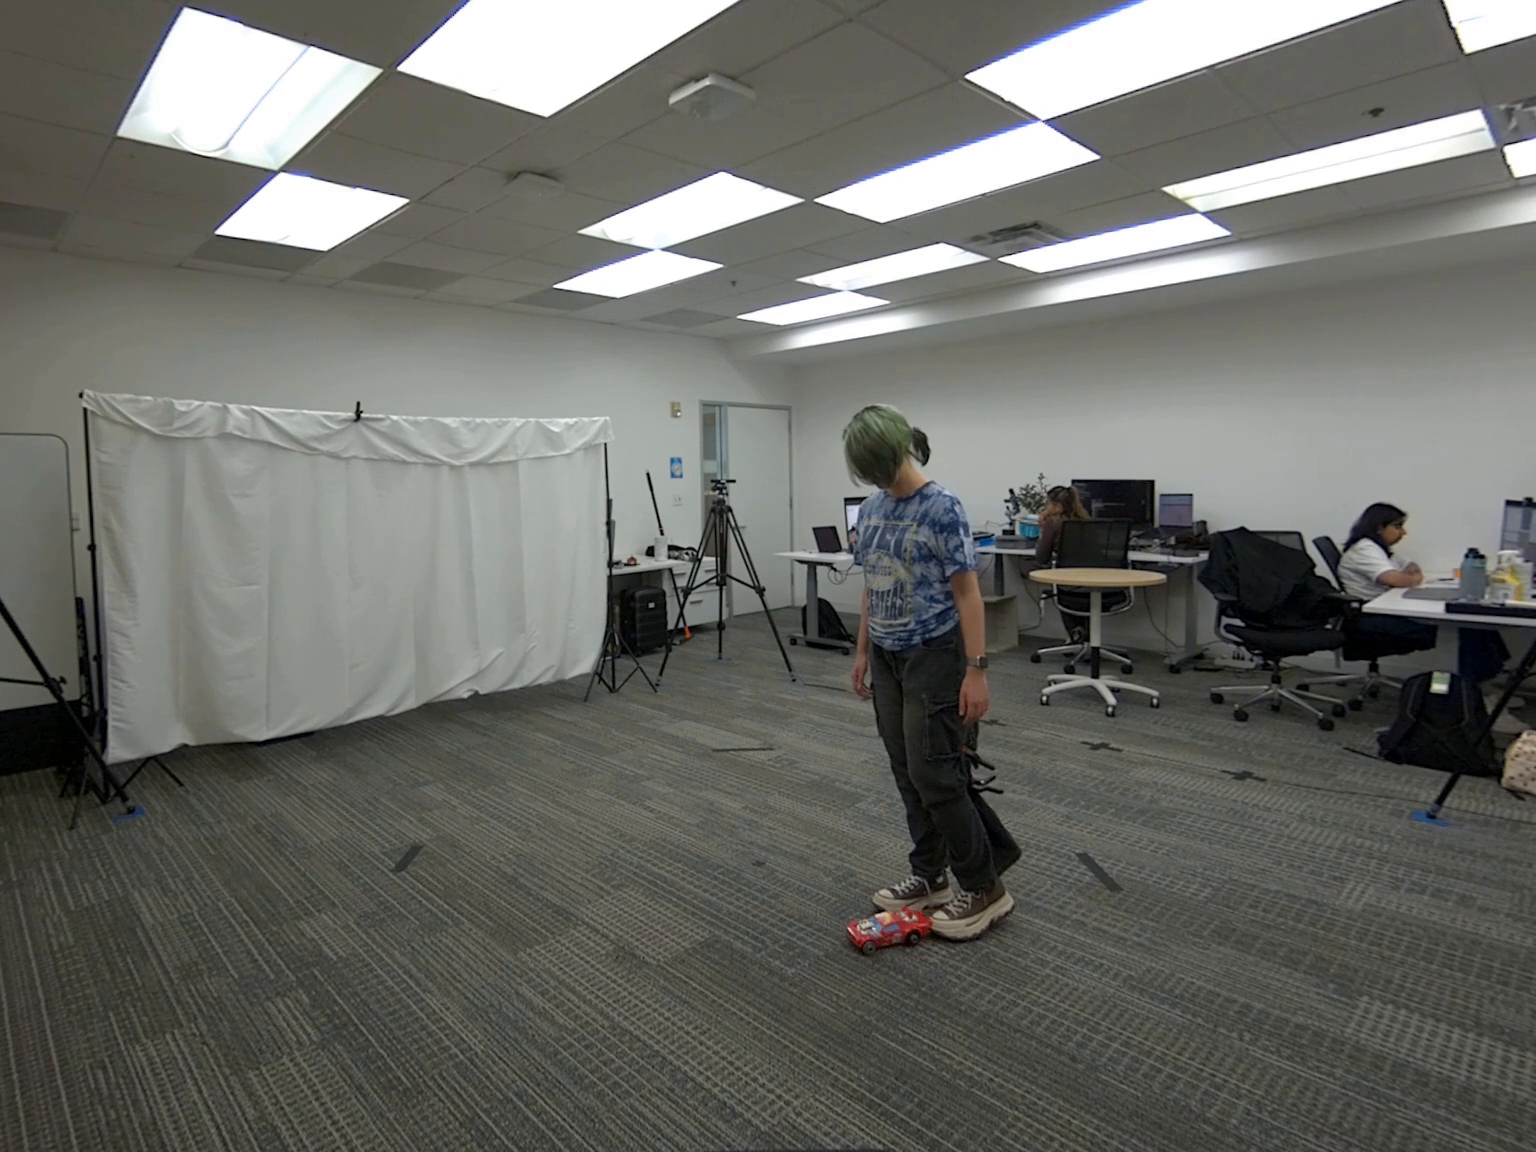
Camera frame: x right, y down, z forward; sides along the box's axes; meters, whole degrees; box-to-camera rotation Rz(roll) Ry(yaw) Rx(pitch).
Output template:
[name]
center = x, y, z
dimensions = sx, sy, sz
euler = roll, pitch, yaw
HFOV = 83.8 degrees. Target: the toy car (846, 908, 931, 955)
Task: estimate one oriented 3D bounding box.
[toy car]
center = 0.380, 1.068, 2.573
dimensions = 0.252, 0.082, 0.133
euler = -14, 11, -14
